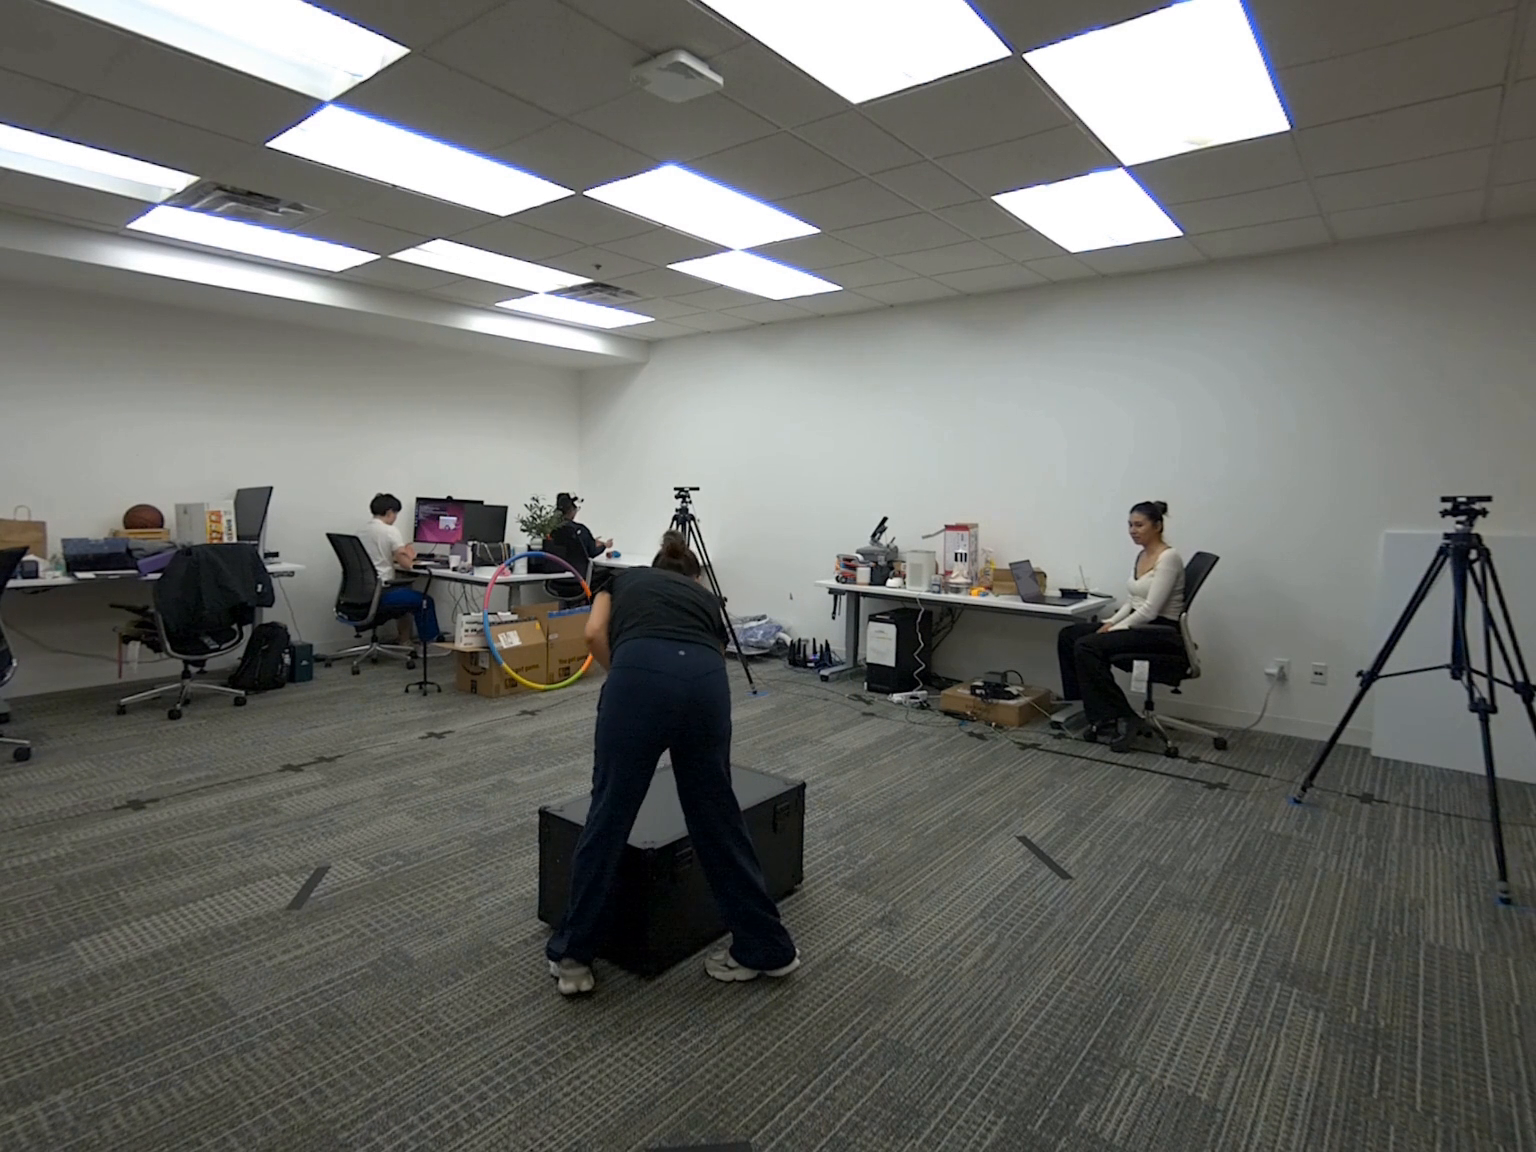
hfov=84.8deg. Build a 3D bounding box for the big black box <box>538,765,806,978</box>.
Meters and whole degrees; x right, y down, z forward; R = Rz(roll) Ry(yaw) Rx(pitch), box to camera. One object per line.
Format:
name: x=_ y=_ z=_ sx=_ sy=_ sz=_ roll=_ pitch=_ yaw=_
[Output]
big black box: x=-0.267 y=0.883 z=2.854 sx=0.539 sy=0.395 sz=0.836 roll=5 pitch=6 yaw=38
